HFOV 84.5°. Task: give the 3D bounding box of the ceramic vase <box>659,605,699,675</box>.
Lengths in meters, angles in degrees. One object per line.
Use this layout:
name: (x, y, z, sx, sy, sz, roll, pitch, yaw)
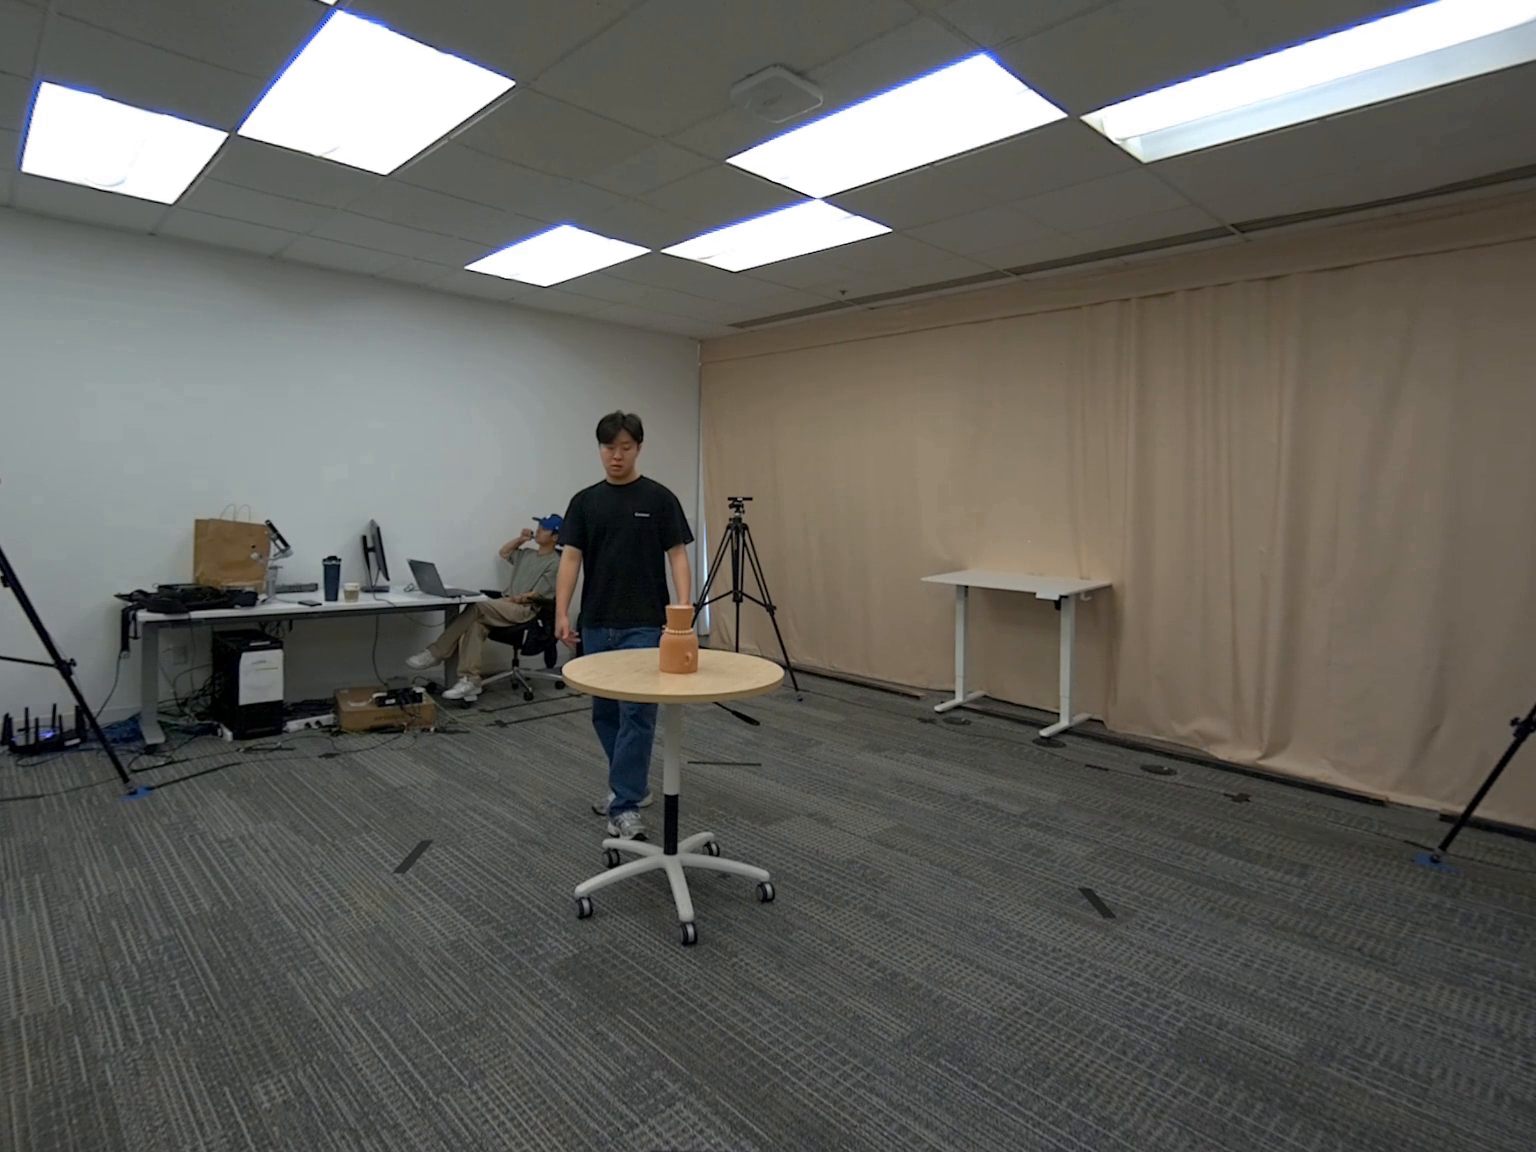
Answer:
ceramic vase: (-0.314, 0.217, 2.899, 0.161, 0.219, 0.133, 1, 3, 18)
